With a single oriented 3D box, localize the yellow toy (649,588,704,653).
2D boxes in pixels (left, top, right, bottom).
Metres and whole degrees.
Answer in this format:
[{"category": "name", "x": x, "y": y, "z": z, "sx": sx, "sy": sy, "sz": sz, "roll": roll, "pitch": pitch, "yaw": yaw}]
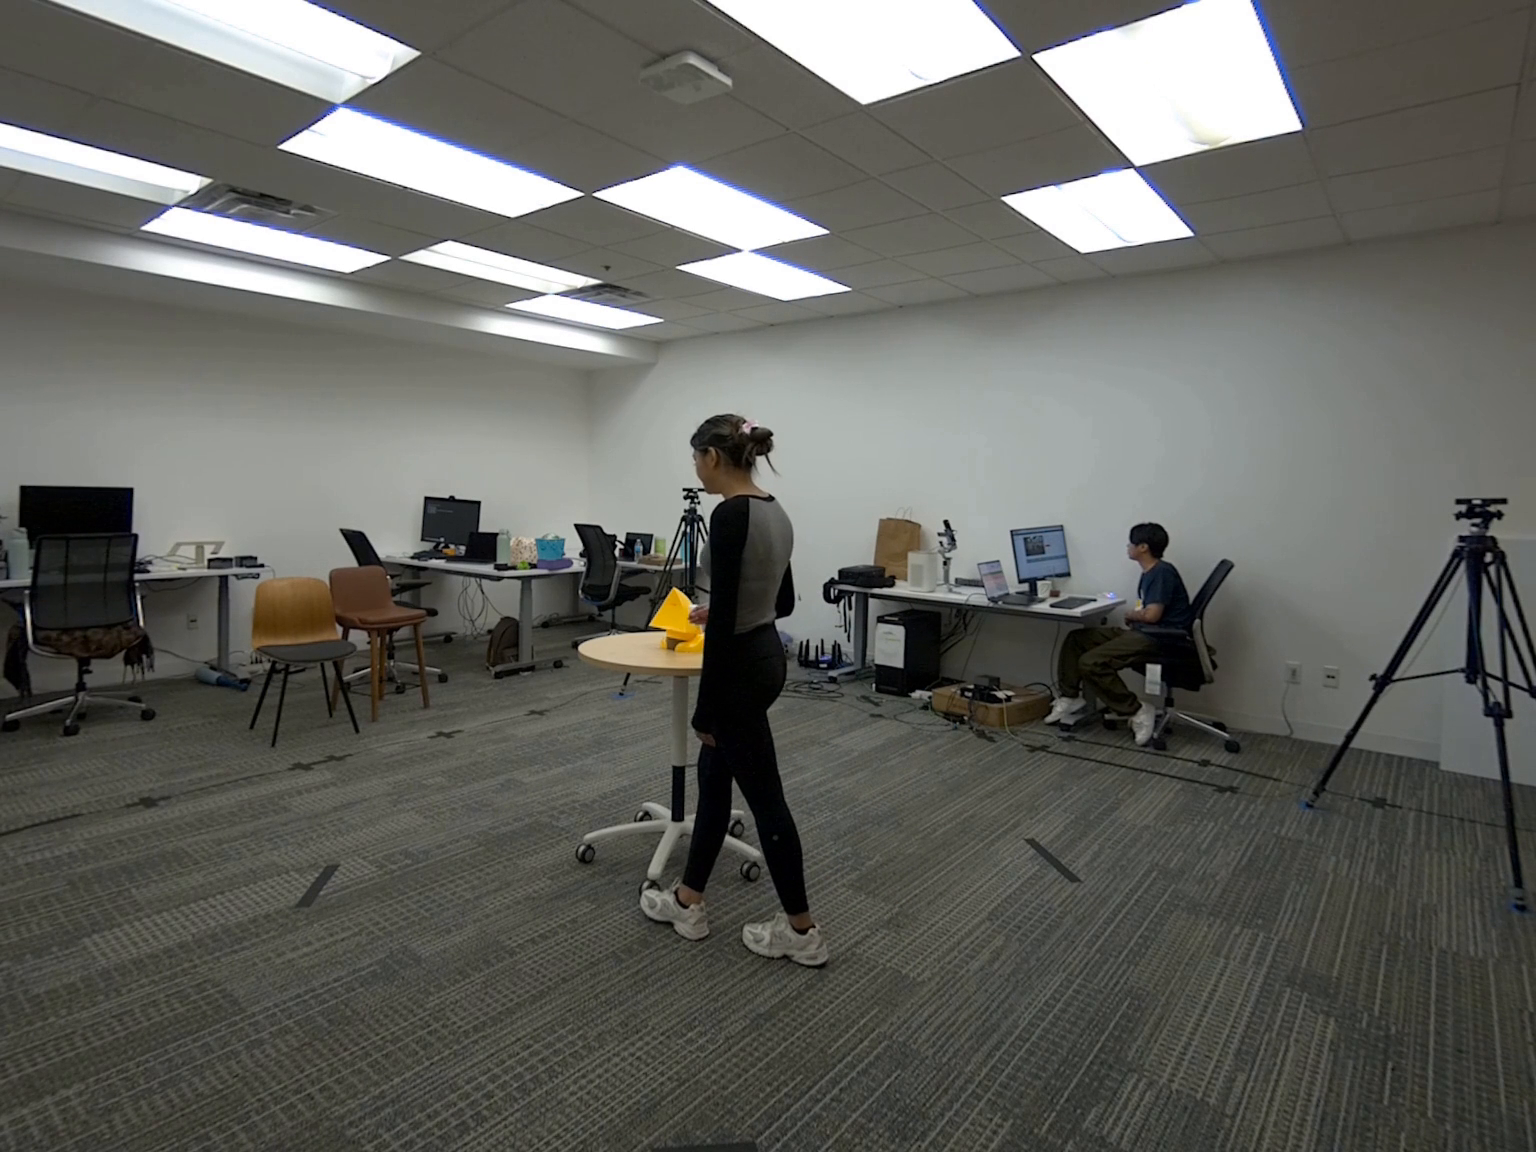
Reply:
[{"category": "yellow toy", "x": -0.321, "y": 0.153, "z": 3.188, "sx": 0.212, "sy": 0.230, "sz": 0.187, "roll": 4, "pitch": 4, "yaw": 43}]
